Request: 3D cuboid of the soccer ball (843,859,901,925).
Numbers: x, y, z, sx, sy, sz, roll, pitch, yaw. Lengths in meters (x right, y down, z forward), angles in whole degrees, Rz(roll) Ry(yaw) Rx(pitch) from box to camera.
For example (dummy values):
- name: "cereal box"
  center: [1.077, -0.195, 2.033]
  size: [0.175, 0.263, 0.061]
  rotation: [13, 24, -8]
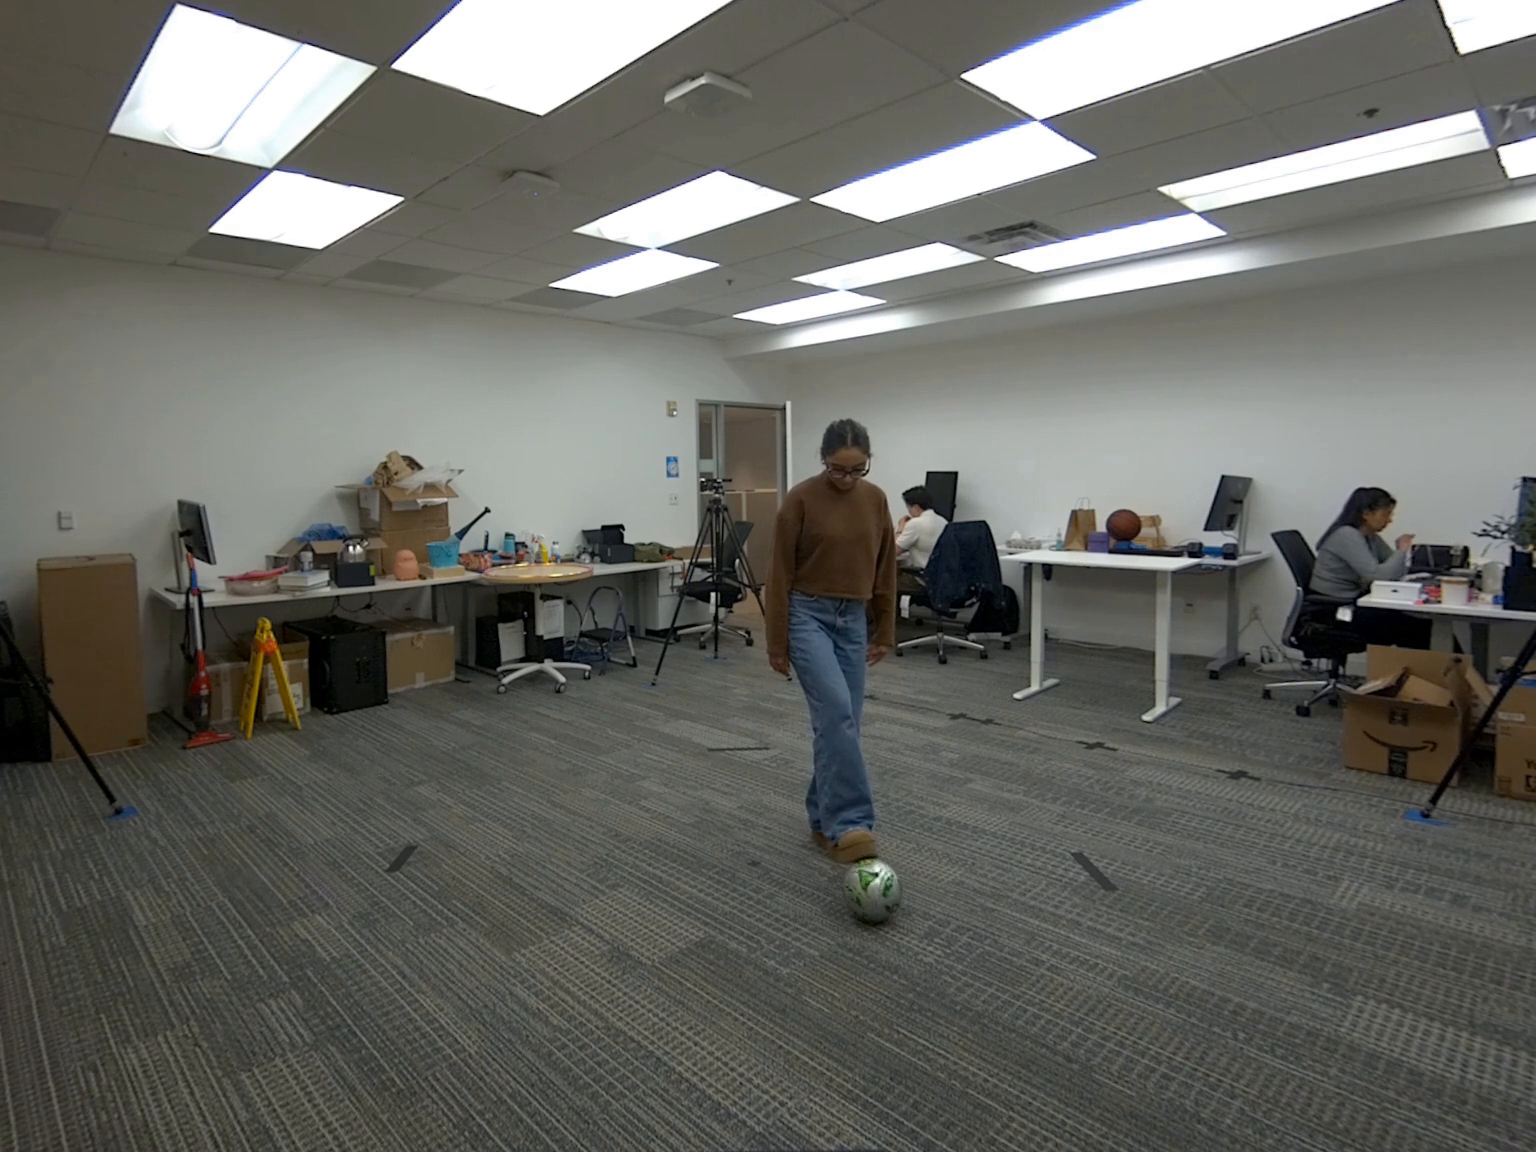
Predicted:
- name: "soccer ball"
  center: [0.328, 0.997, 2.712]
  size: [0.187, 0.187, 0.188]
  rotation: [-1, 5, -2]
